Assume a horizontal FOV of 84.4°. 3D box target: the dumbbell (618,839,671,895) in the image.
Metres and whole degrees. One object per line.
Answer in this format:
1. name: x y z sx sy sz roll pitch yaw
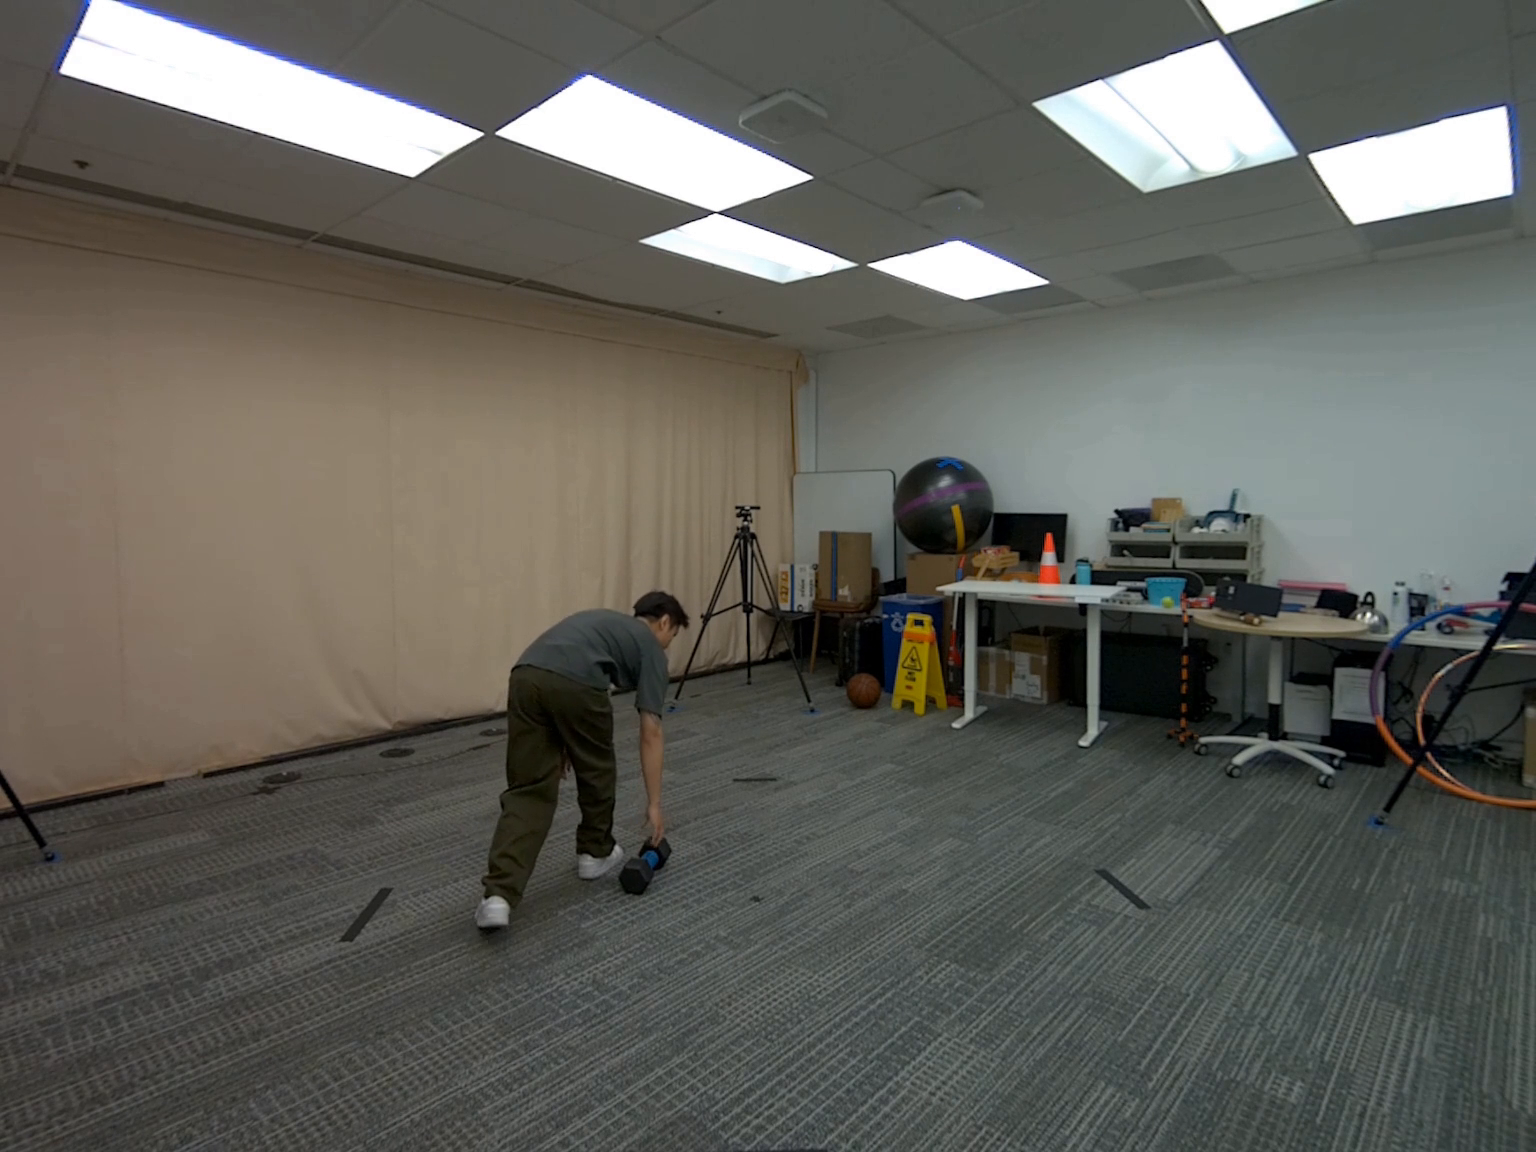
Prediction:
1. dumbbell: -0.456 1.079 3.145 0.125 0.108 0.290 2 6 12
